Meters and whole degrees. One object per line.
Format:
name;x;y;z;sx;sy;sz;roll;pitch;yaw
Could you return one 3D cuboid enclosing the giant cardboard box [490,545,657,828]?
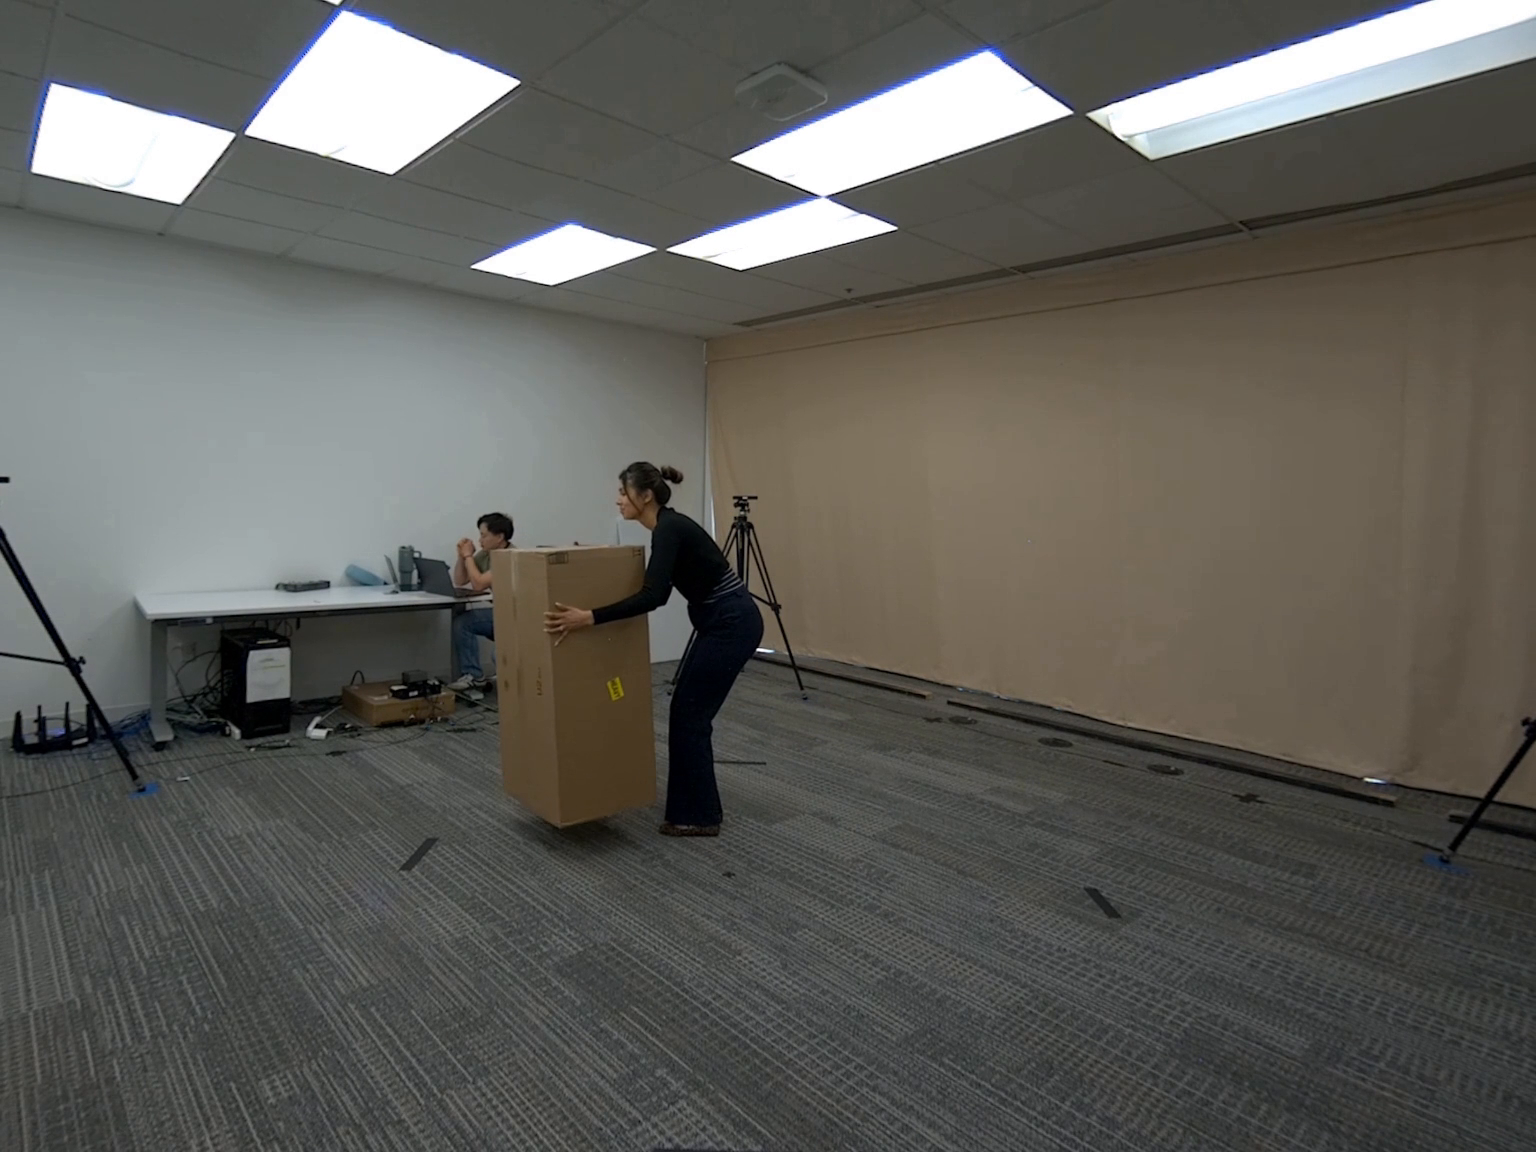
giant cardboard box;-0.810;0.402;3.429;0.417;1.024;0.591;-4;3;-38
